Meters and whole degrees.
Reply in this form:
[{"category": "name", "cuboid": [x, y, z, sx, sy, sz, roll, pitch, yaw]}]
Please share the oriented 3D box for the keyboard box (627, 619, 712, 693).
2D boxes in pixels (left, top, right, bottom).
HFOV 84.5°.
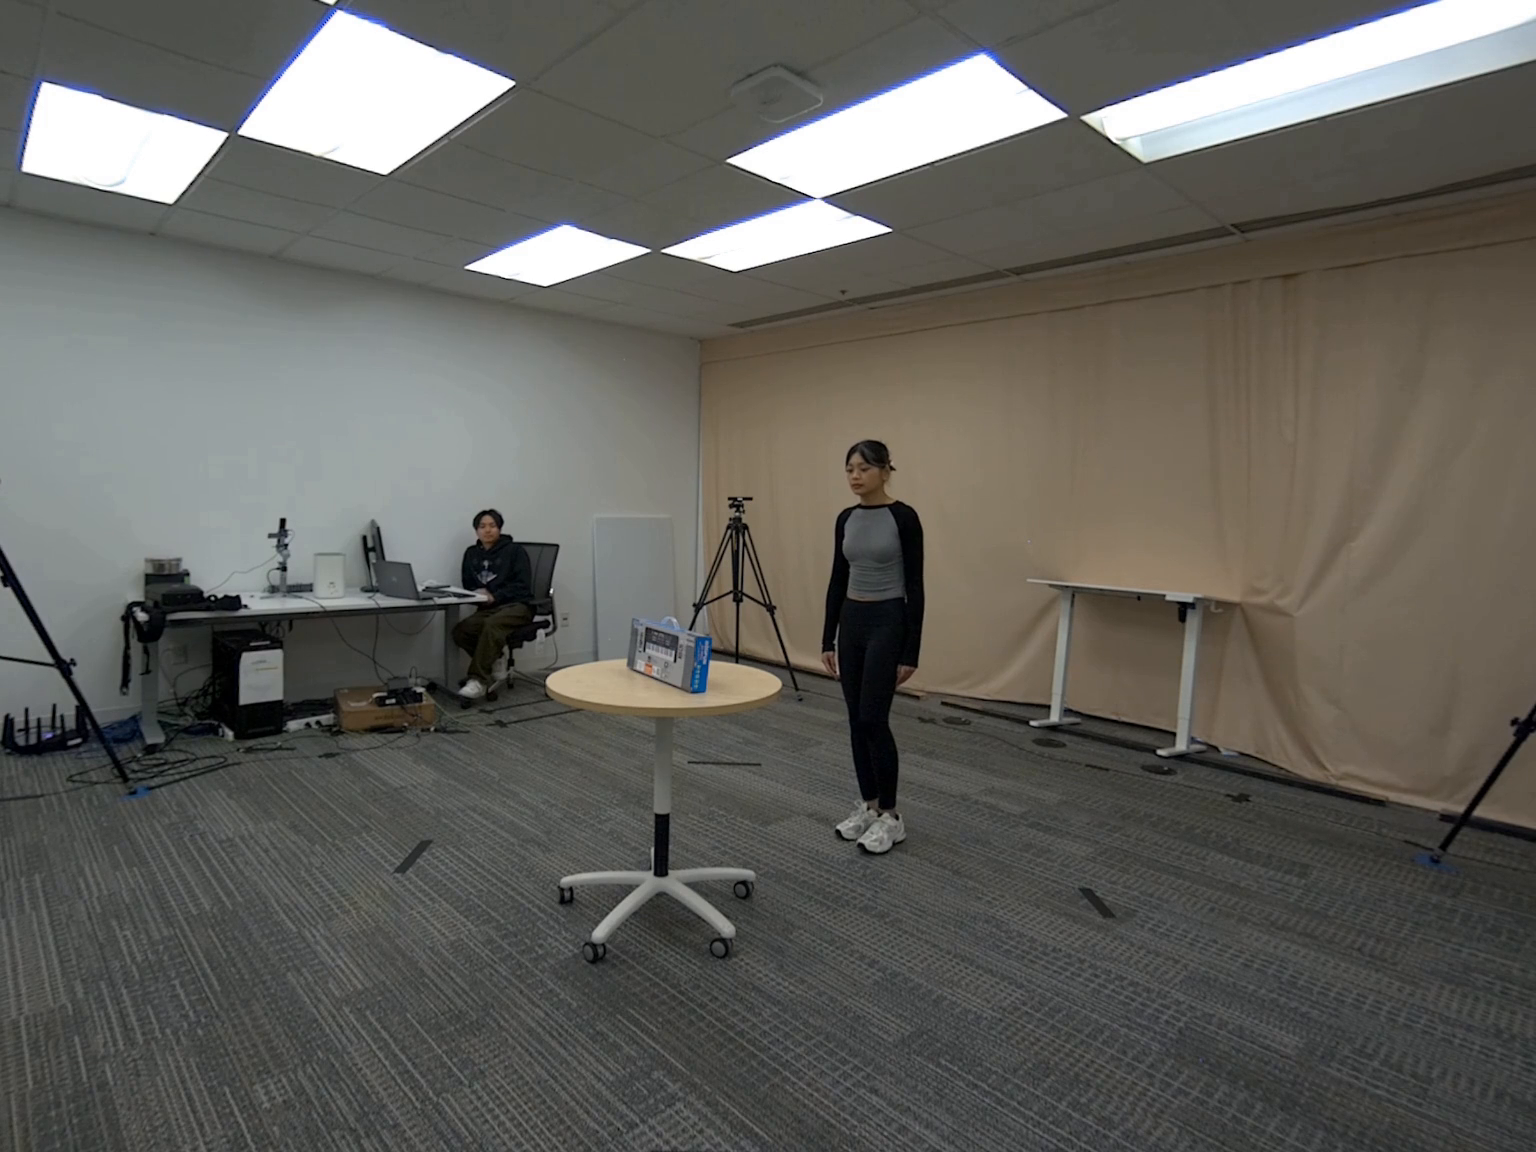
[{"category": "keyboard box", "cuboid": [-0.339, 0.256, 2.756, 0.058, 0.176, 0.447, 7, 1, -35]}]
